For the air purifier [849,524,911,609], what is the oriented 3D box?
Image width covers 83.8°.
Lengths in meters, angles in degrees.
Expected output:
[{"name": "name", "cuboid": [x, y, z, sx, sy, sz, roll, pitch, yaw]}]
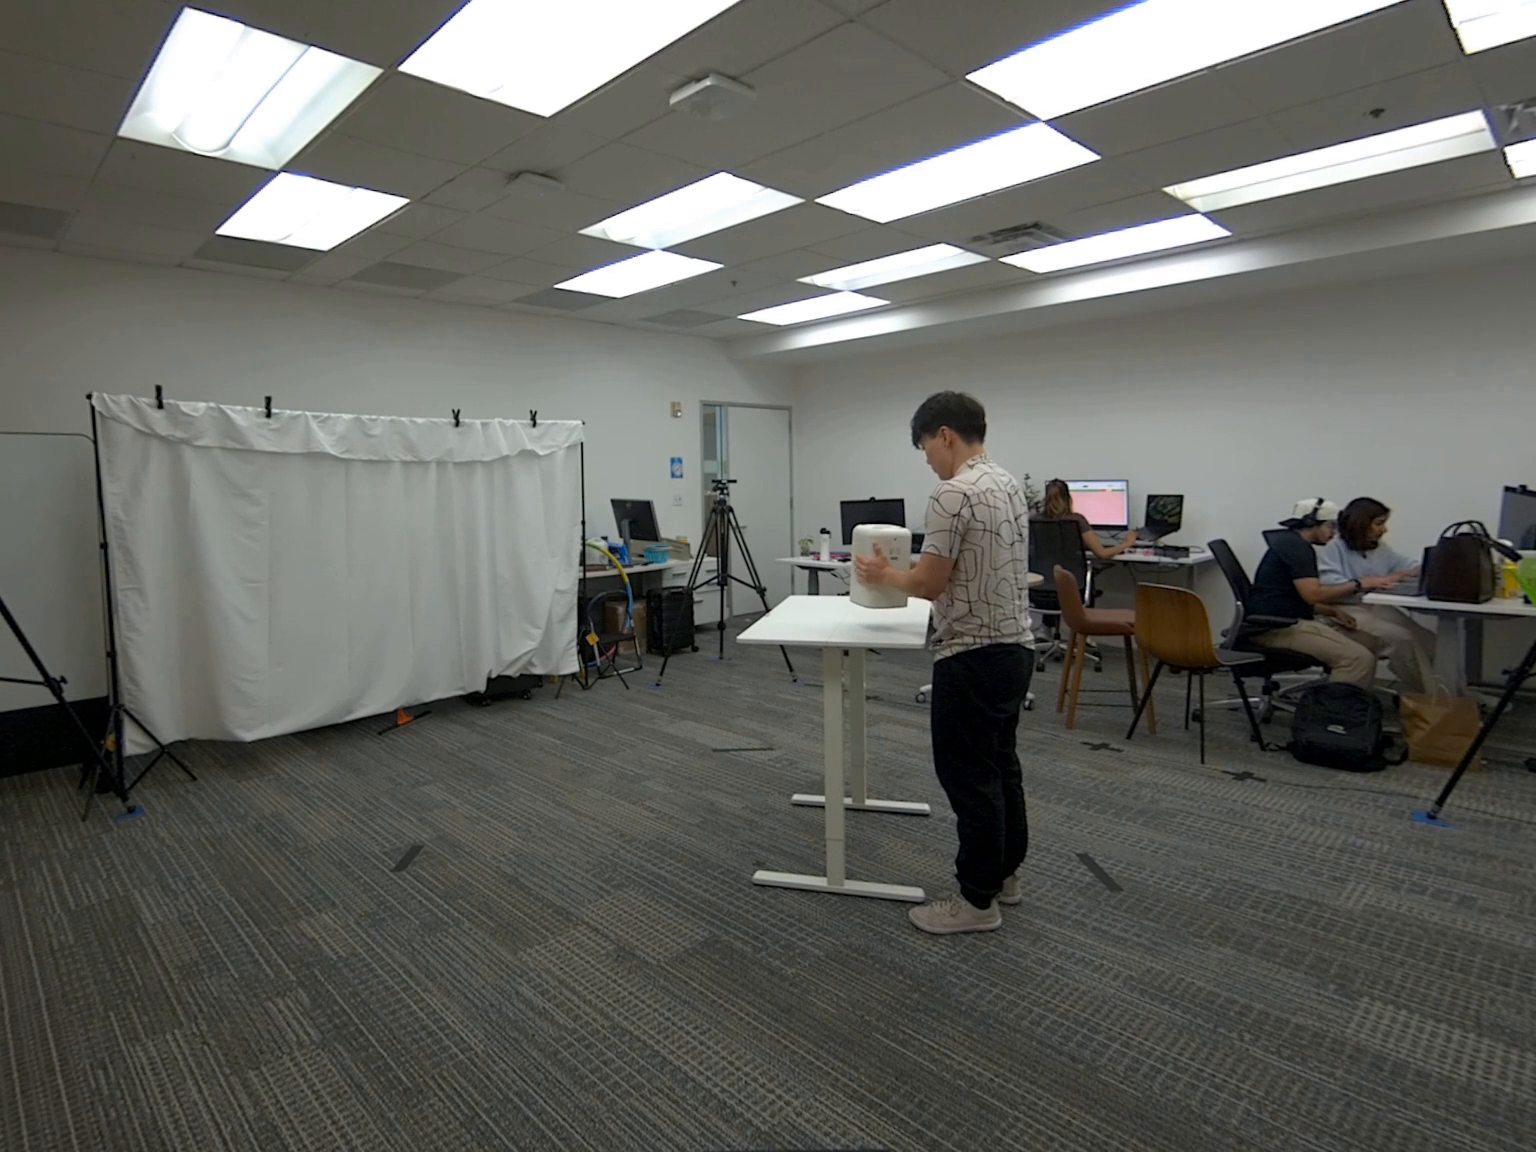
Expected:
[{"name": "air purifier", "cuboid": [0.394, -0.038, 2.902, 0.169, 0.264, 0.175, -3, 7, -16]}]
